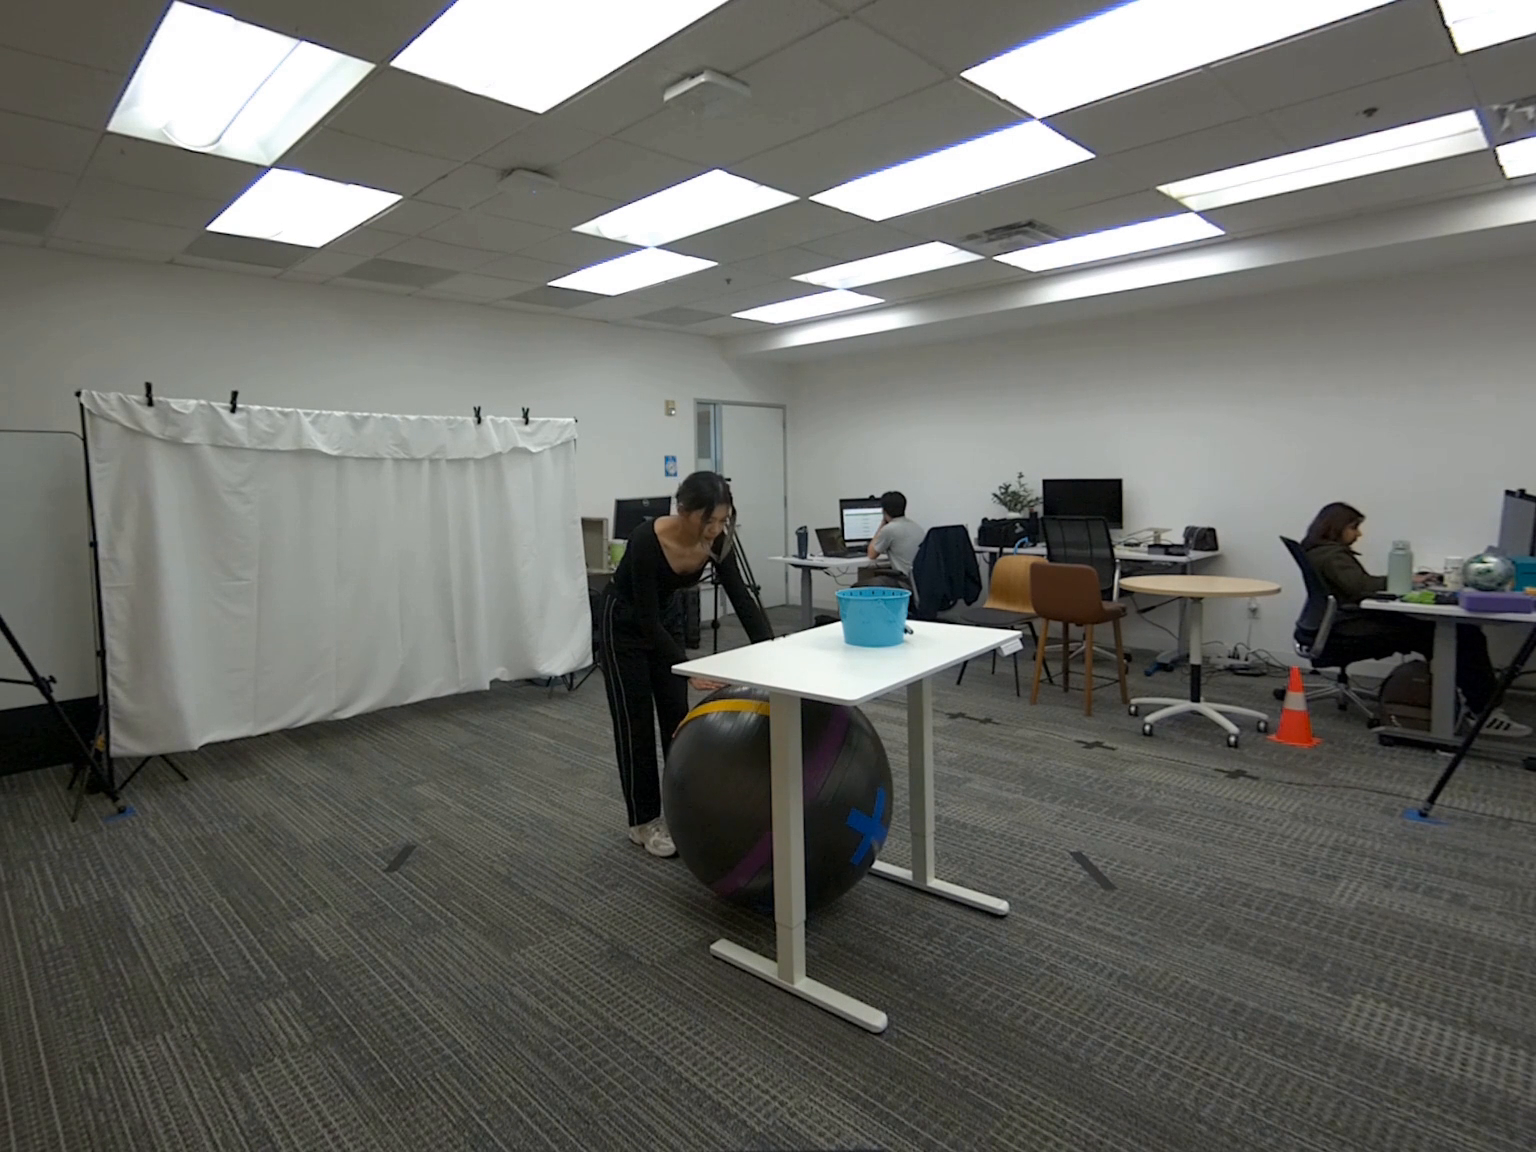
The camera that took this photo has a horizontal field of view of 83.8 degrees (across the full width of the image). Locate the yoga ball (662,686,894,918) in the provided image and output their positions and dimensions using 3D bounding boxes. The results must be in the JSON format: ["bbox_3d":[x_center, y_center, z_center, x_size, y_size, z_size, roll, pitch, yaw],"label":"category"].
[{"bbox_3d":[0.033,0.705,2.812,0.757,0.755,0.762,-1,5,-2],"label":"yoga ball"}]
